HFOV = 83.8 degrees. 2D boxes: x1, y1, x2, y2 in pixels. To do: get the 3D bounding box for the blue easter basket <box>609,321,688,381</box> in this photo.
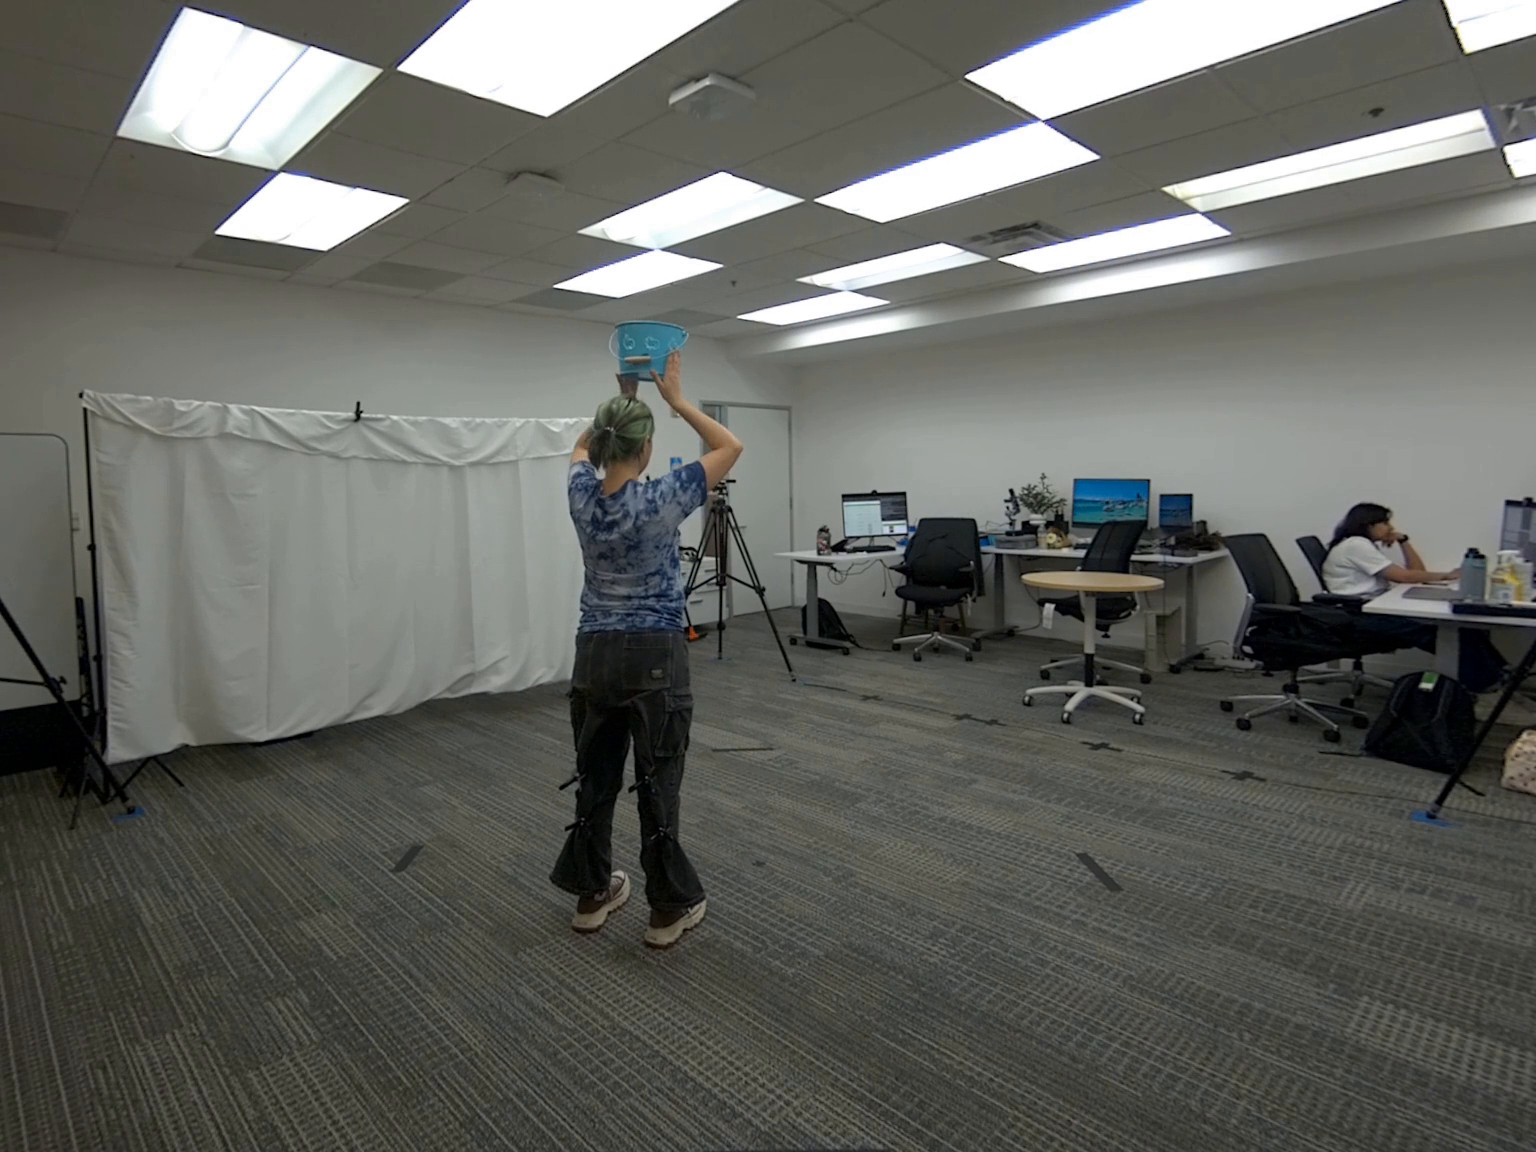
[{"bbox_3d":[-0.385,-0.705,2.711,0.243,0.156,0.244,3,2,-2],"label":"blue easter basket"}]
